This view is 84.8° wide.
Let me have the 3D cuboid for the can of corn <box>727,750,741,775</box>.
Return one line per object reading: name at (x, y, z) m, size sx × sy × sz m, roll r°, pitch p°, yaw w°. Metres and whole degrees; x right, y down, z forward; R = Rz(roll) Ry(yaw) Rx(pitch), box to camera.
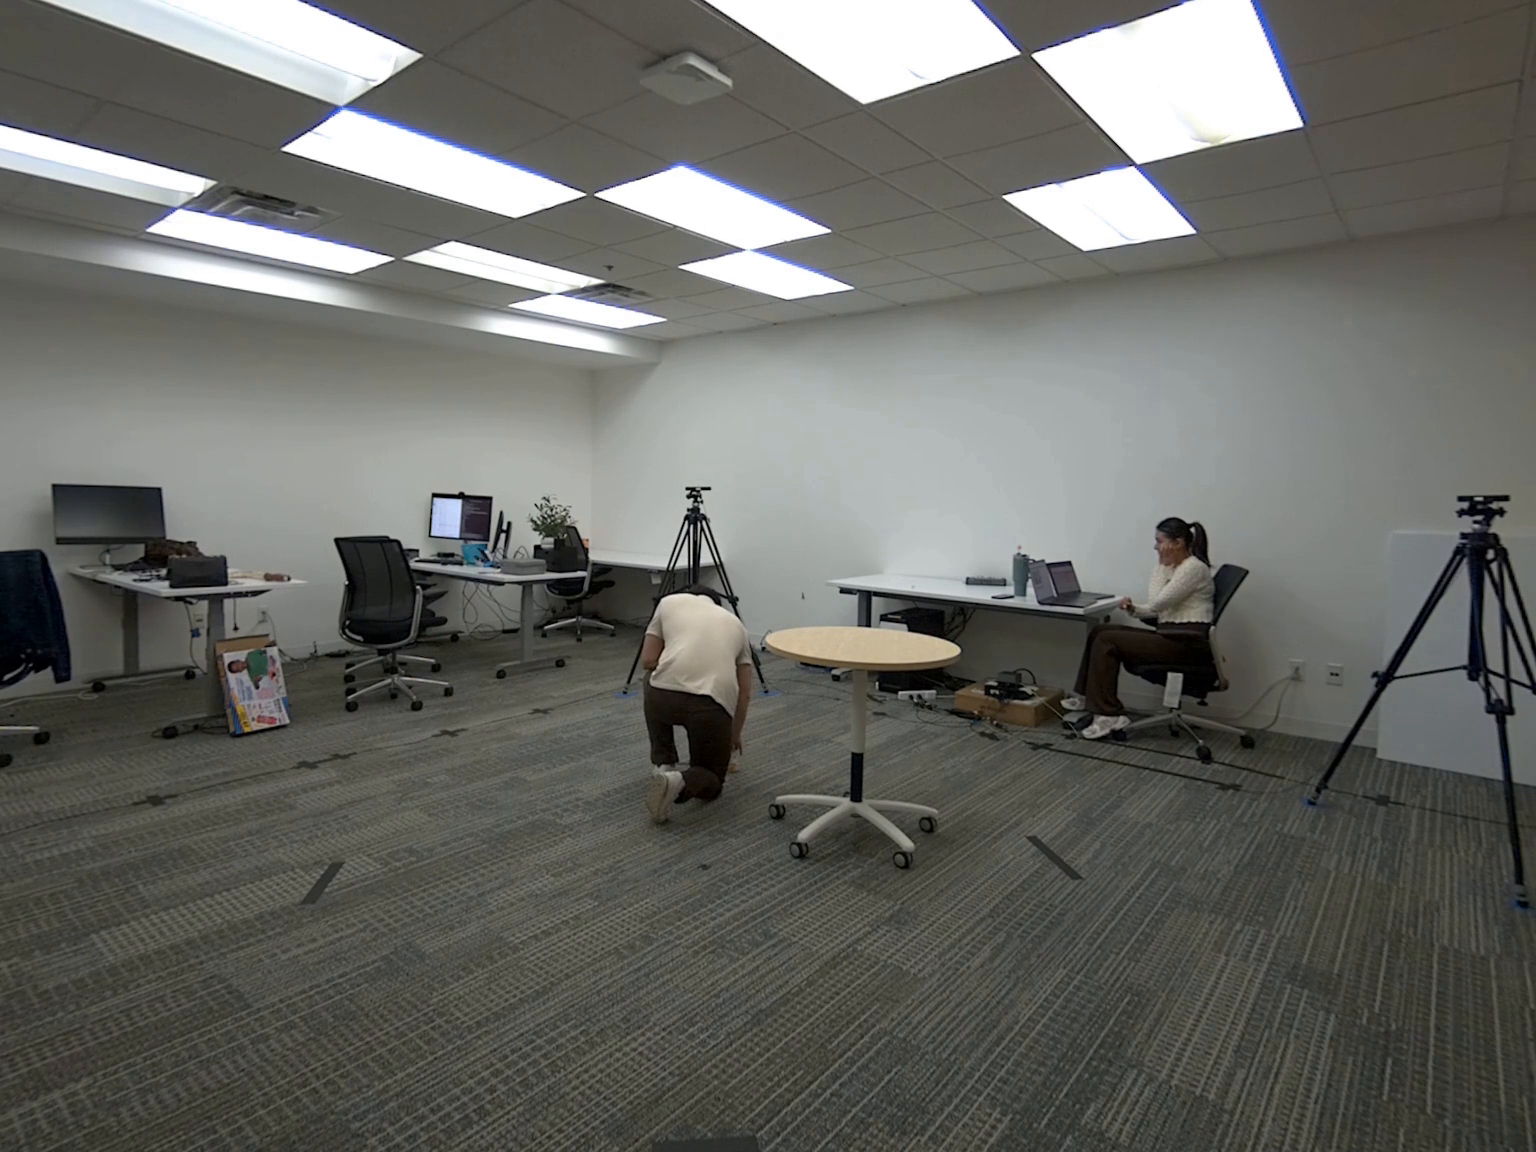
can of corn at (-0.191, 0.903, 4.197) m, size 0.074 × 0.110 × 0.075 m, roll 0°, pitch 7°, yaw -2°
